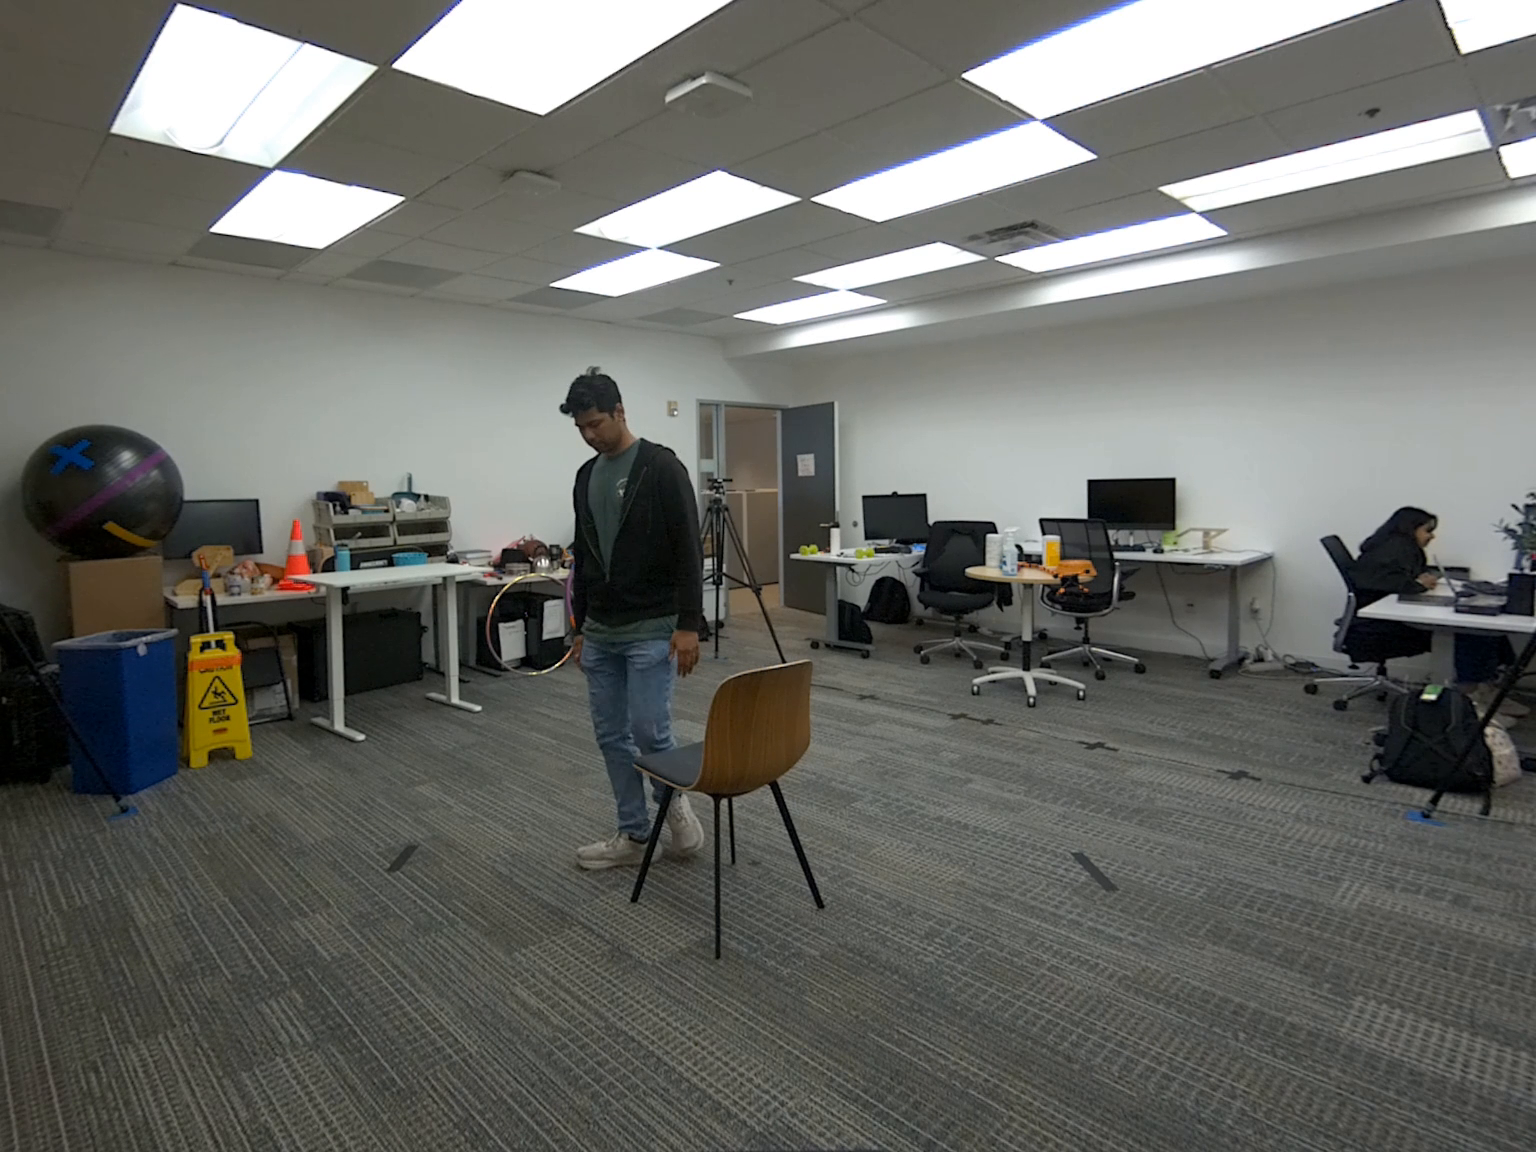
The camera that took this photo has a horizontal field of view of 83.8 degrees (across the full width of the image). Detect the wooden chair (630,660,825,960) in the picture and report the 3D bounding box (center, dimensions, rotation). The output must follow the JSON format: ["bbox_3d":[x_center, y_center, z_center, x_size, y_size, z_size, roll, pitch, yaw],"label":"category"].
[{"bbox_3d":[-0.140,0.660,2.774,0.466,0.871,0.541,-5,10,-40],"label":"wooden chair"}]
